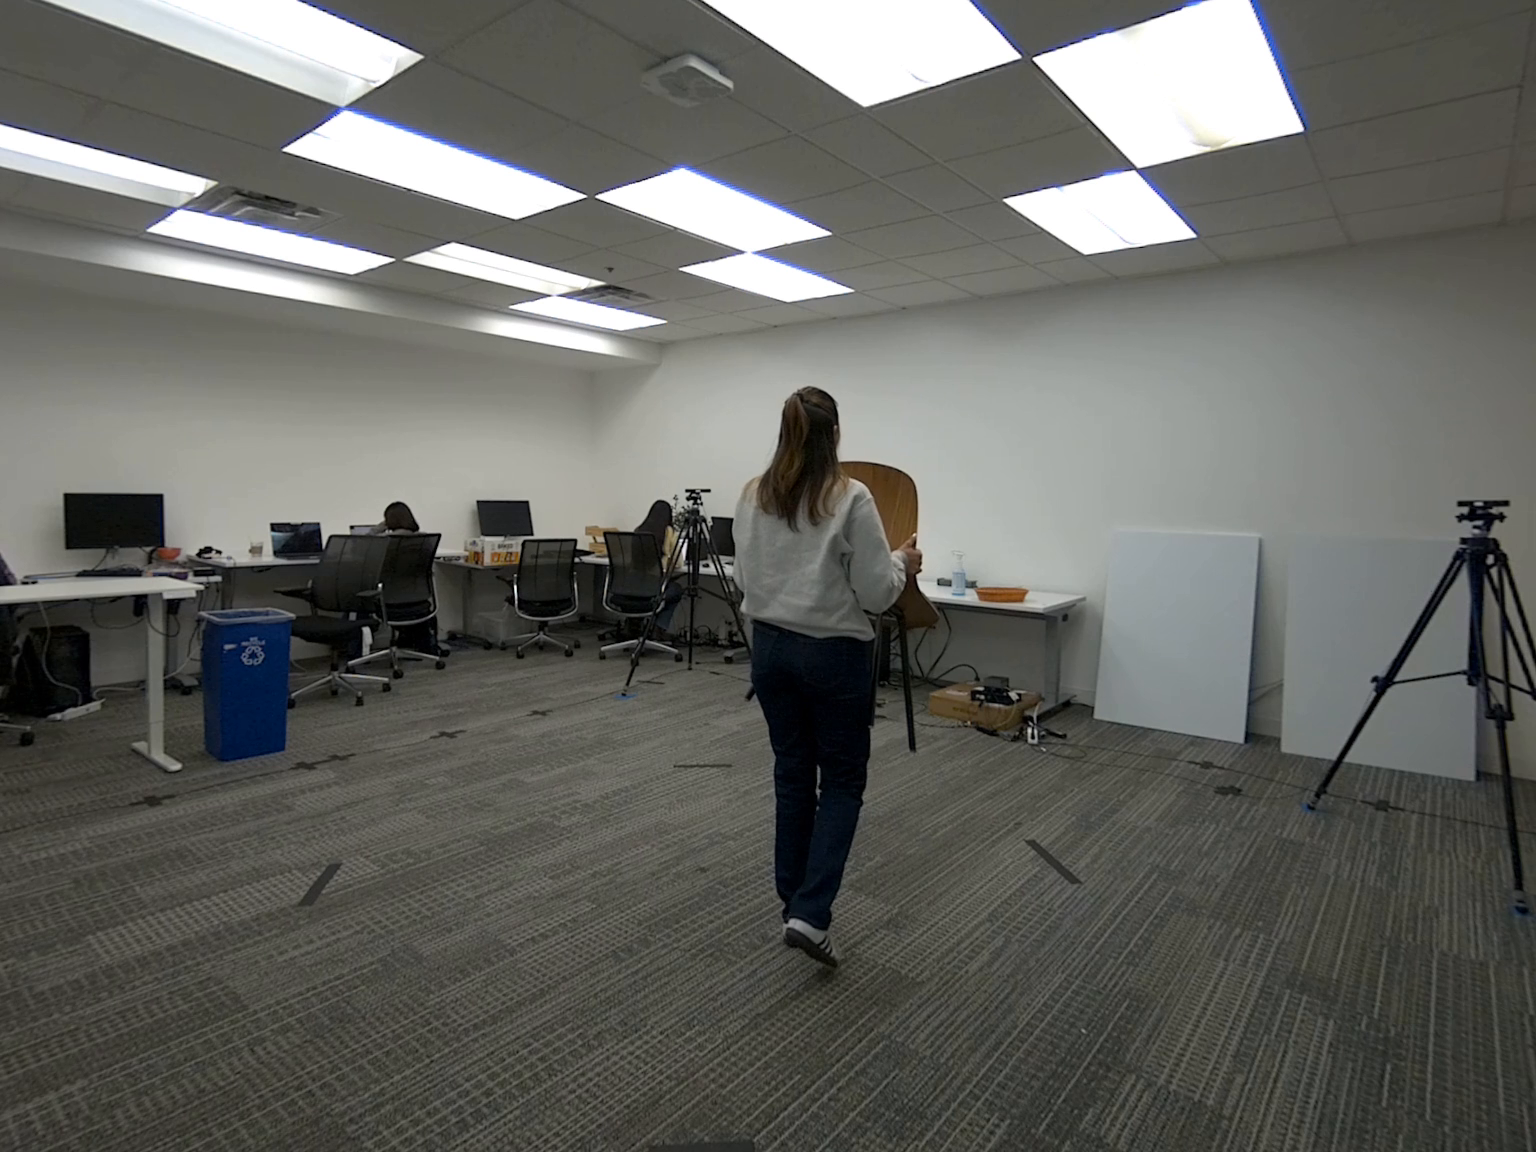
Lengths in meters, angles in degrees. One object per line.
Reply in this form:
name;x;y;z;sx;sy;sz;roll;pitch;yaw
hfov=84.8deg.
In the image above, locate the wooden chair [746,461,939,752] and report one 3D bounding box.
wooden chair;0.313;0.104;2.956;0.493;0.885;0.502;5;-14;32
